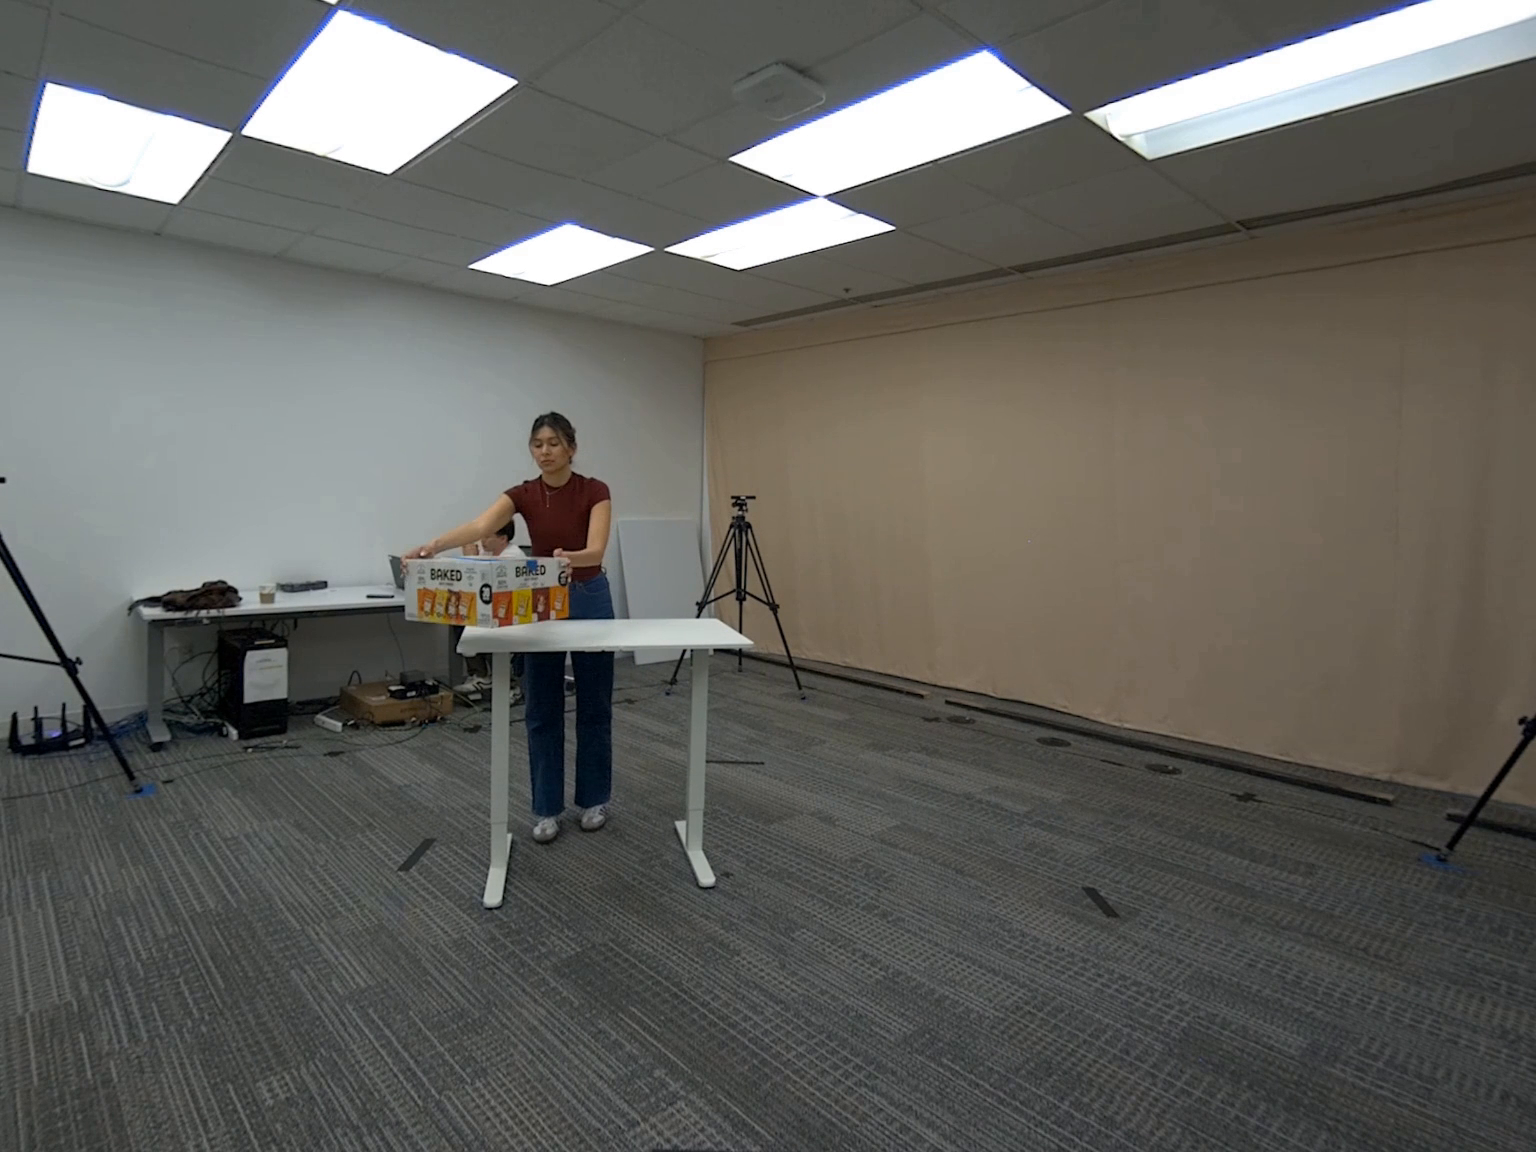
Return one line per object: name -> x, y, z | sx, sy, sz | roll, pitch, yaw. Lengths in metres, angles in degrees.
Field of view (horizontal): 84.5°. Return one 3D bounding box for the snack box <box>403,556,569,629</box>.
snack box -> -0.936, 0.045, 2.807 | 0.414, 0.205, 0.333 | 3, 3, 30
